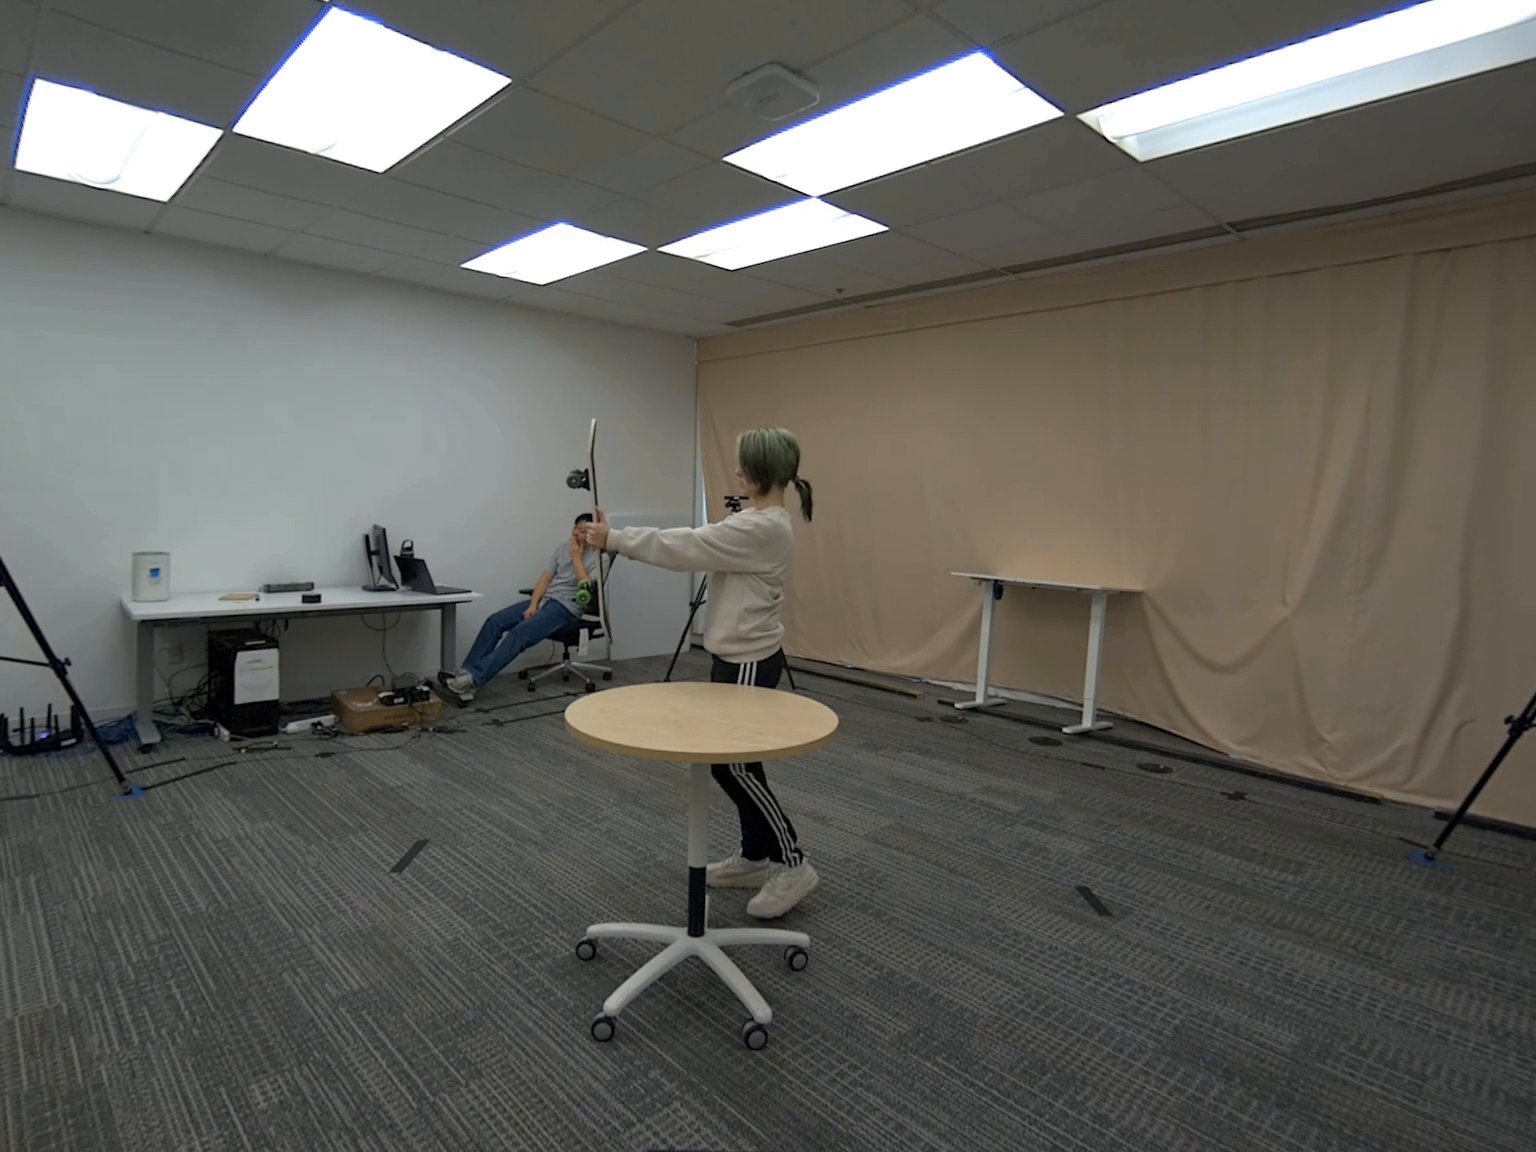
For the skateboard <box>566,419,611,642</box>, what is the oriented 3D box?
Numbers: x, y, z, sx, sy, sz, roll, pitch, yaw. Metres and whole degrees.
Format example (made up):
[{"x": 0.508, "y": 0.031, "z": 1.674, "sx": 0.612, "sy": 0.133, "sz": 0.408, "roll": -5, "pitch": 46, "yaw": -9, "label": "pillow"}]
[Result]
[{"x": -0.618, "y": -0.139, "z": 2.896, "sx": 0.109, "sy": 0.779, "sz": 0.196, "roll": -4, "pitch": 10, "yaw": -9, "label": "skateboard"}]
